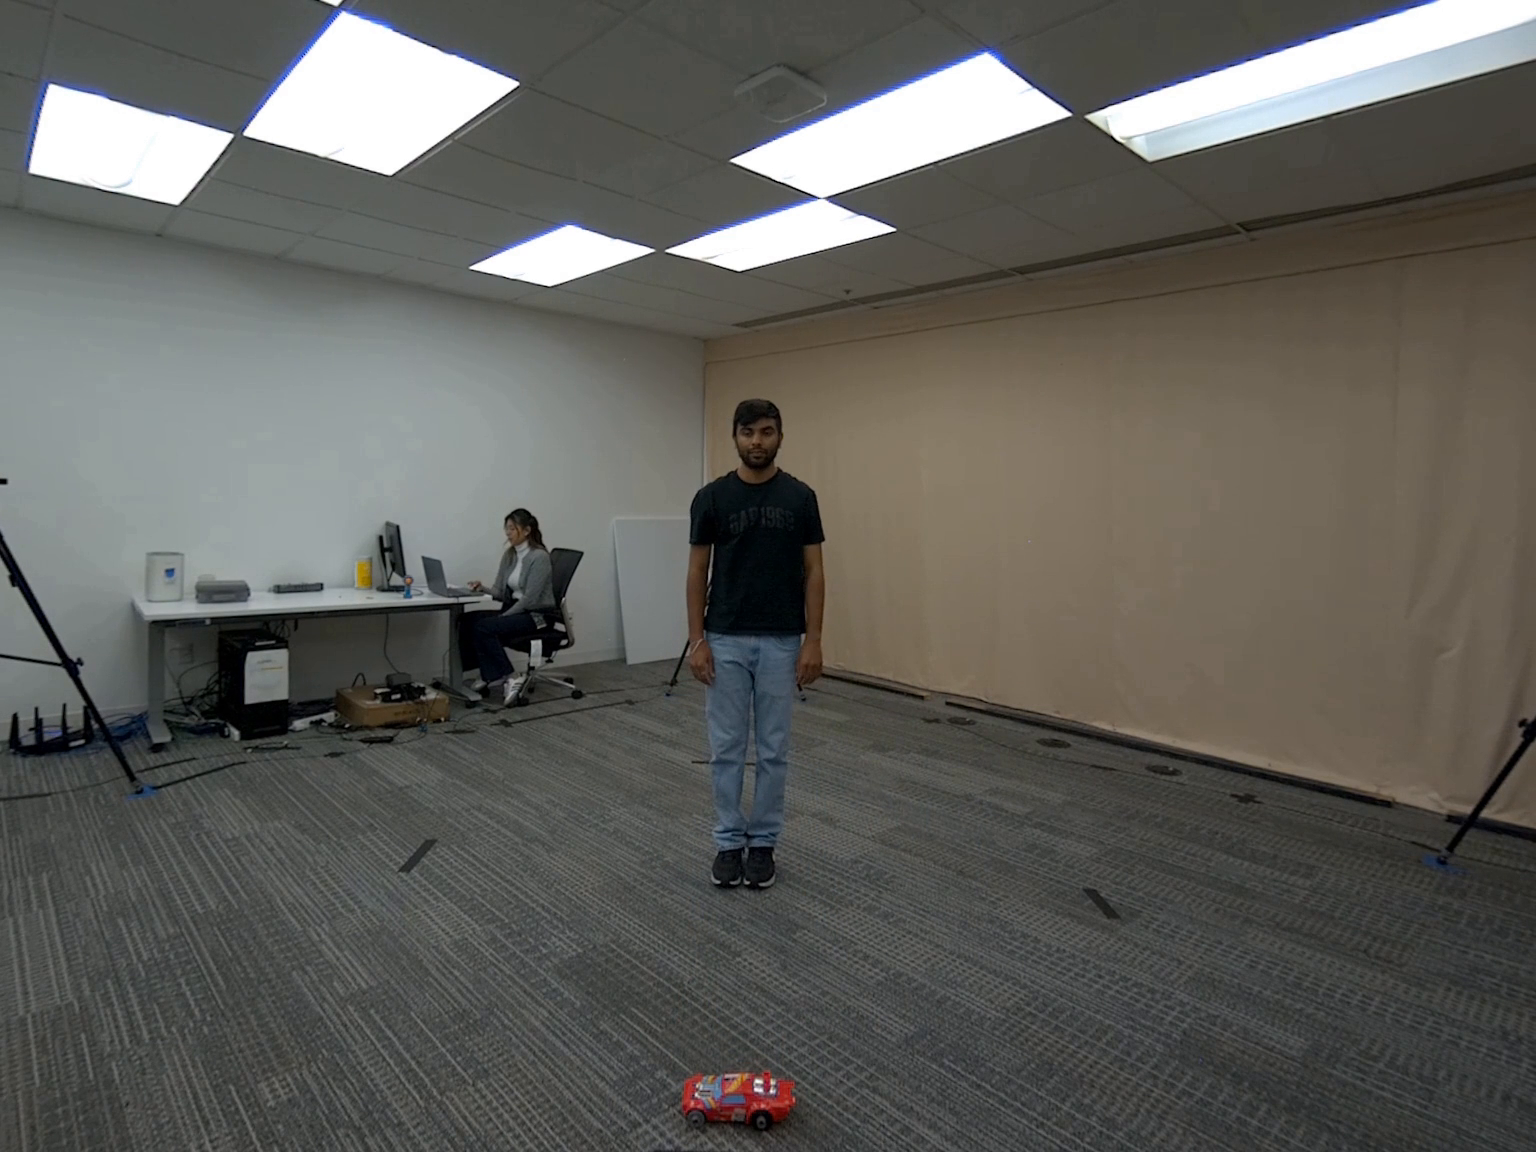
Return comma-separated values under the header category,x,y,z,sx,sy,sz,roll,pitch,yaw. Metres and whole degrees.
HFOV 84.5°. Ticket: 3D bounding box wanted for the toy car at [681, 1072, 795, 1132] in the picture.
category,x,y,z,sx,sy,sz,roll,pitch,yaw
toy car,-0.077,1.192,1.905,0.255,0.083,0.130,-9,4,2
